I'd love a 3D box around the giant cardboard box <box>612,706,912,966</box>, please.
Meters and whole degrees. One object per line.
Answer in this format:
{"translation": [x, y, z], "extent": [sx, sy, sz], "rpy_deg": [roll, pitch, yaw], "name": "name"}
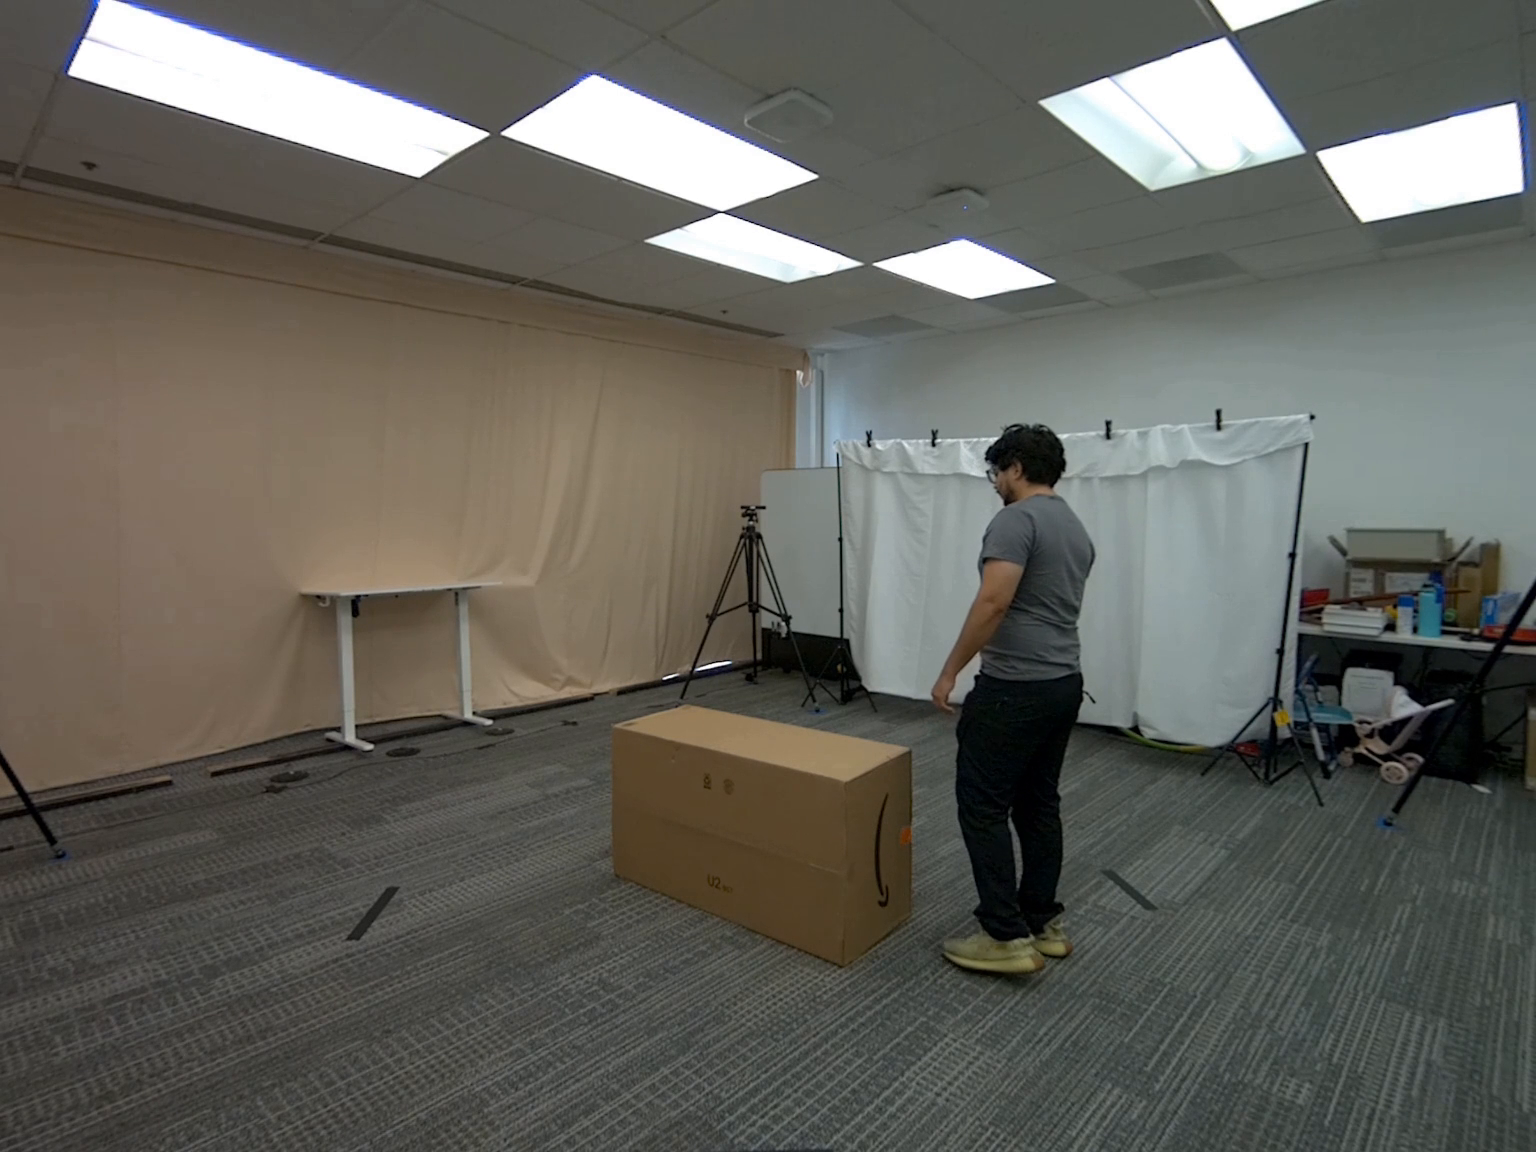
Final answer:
{"translation": [-0.047, 0.852, 3.006], "extent": [1.059, 0.576, 0.413], "rpy_deg": [3, 5, 39], "name": "giant cardboard box"}
